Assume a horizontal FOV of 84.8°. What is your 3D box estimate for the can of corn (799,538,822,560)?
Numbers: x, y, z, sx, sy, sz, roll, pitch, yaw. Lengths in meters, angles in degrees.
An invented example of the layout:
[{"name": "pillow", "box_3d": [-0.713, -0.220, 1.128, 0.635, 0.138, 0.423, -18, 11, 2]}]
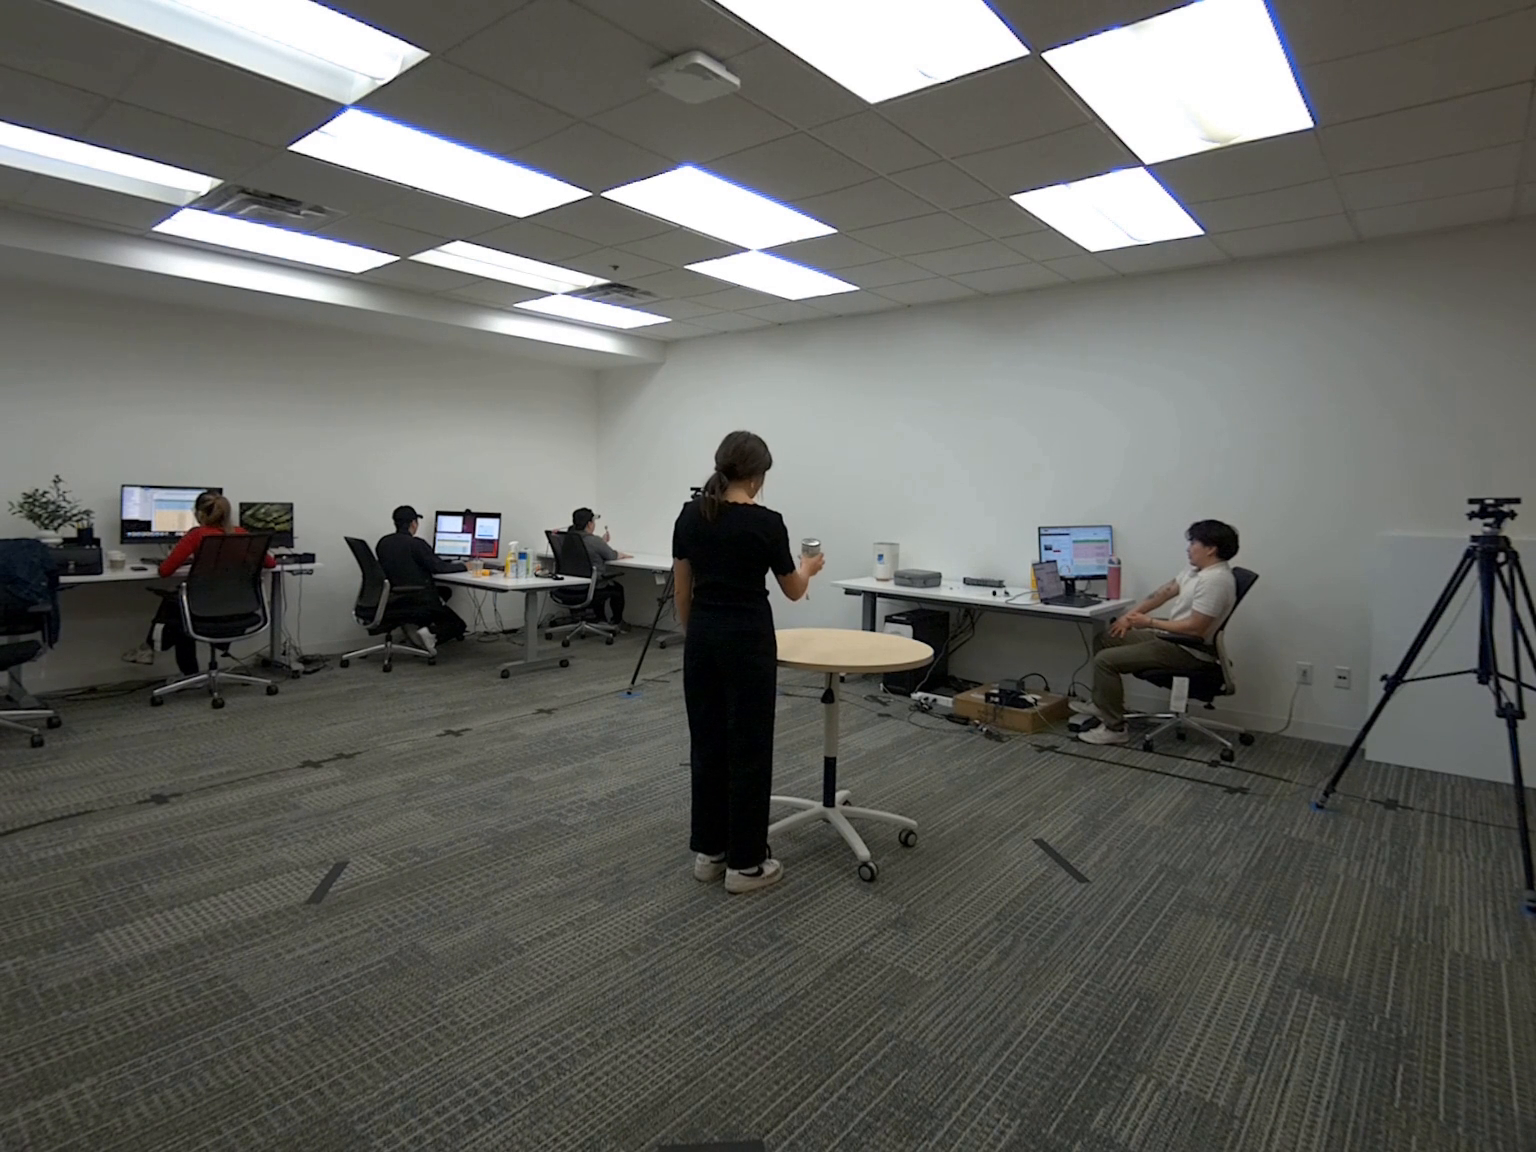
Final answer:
[{"name": "can of corn", "box_3d": [0.168, -0.056, 3.339, 0.074, 0.110, 0.075, 1, 12, -2]}]
